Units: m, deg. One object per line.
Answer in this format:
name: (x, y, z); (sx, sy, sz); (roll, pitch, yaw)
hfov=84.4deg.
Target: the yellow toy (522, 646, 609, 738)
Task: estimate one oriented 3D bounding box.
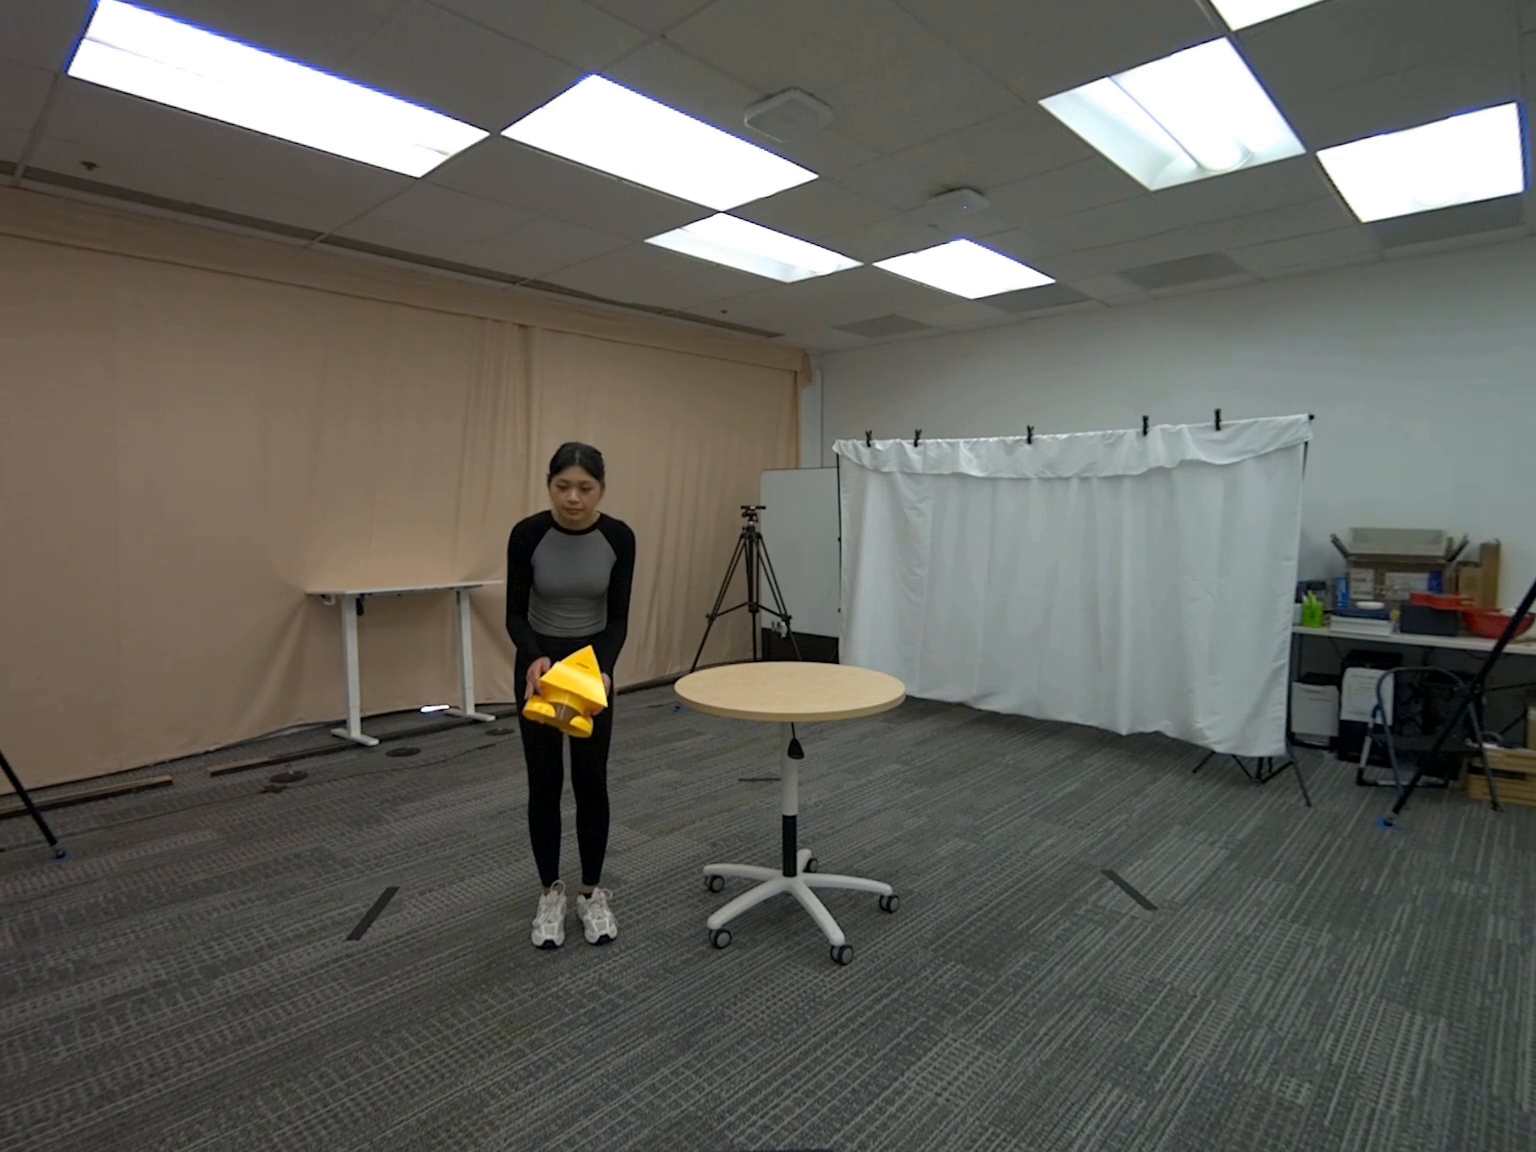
yellow toy: (-0.566, 0.321, 2.432); (0.201, 0.232, 0.196); (26, -26, -17)
